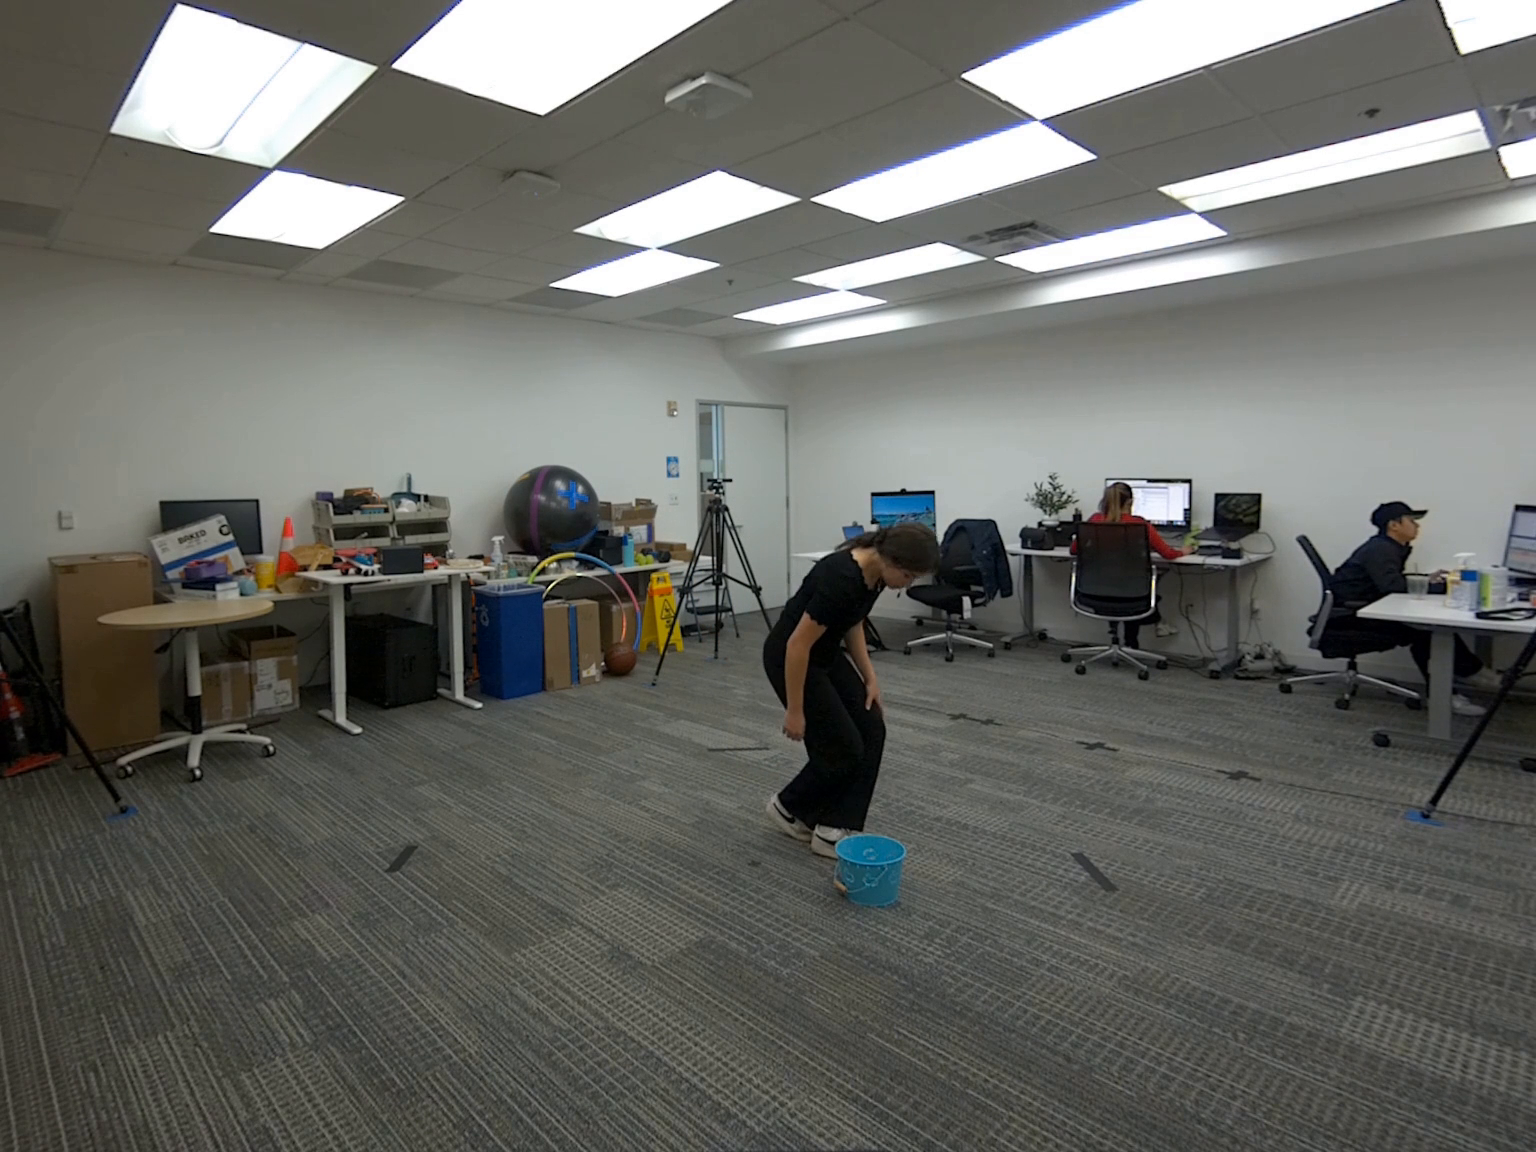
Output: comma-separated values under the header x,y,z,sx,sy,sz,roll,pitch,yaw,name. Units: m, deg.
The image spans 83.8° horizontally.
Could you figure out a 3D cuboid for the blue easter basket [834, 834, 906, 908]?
x,y,z,sx,sy,sz,roll,pitch,yaw,name
0.339,0.992,2.861,0.243,0.155,0.245,0,5,-2,blue easter basket
